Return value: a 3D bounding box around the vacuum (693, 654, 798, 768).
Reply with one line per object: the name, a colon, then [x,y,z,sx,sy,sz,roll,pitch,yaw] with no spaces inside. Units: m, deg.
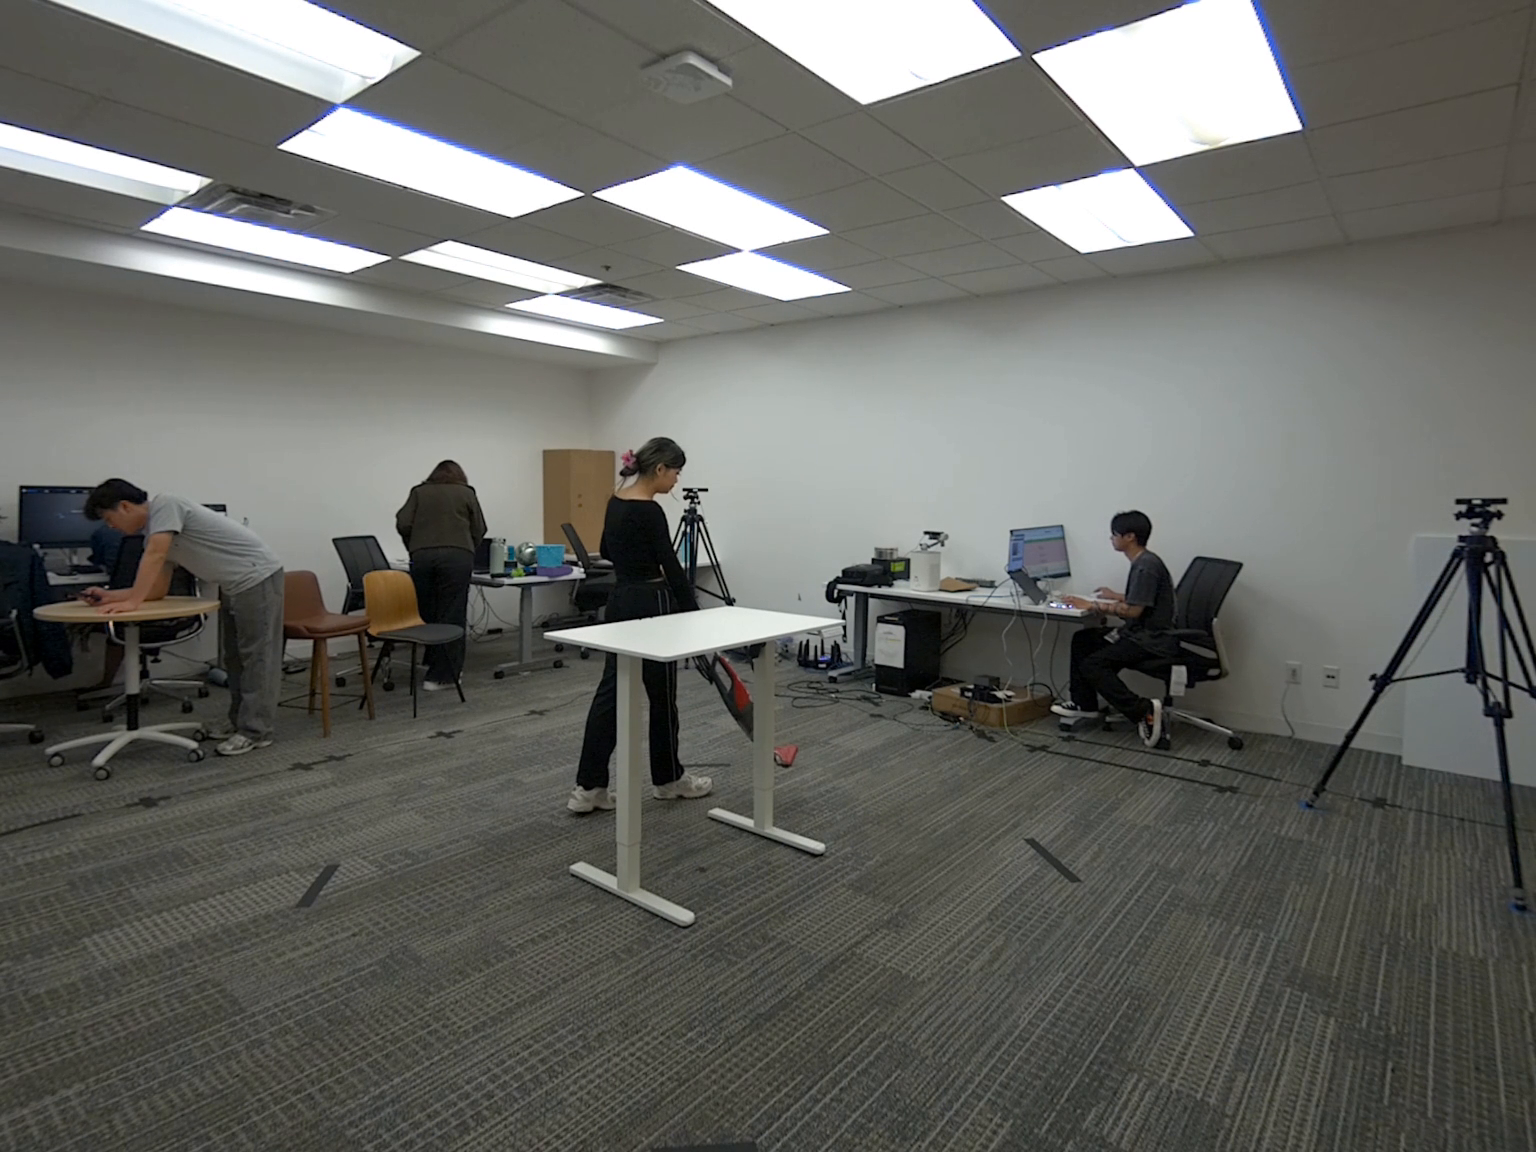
vacuum: [-0.249,0.386,3.834,0.144,1.057,0.250,-35,-5,9]
